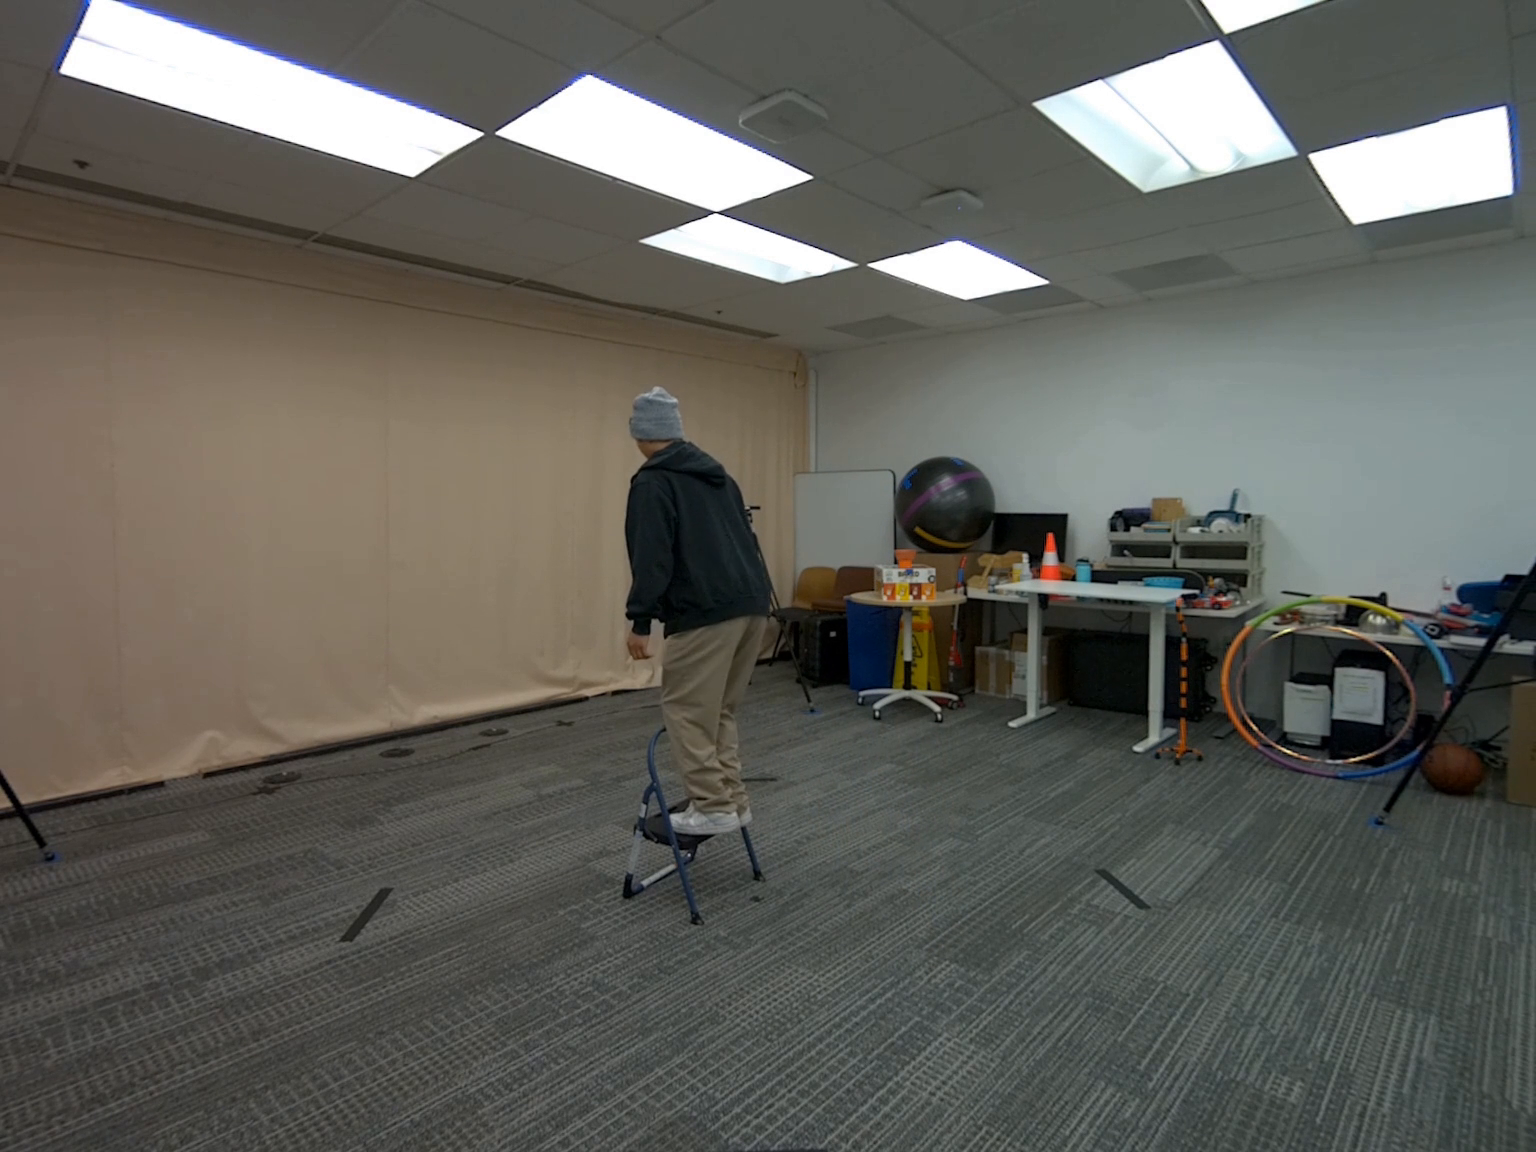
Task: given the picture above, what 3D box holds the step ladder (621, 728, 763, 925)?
[{"bbox_3d":[-0.270,0.840,3.057,0.360,0.605,0.419,1,3,32],"label":"step ladder"}]
